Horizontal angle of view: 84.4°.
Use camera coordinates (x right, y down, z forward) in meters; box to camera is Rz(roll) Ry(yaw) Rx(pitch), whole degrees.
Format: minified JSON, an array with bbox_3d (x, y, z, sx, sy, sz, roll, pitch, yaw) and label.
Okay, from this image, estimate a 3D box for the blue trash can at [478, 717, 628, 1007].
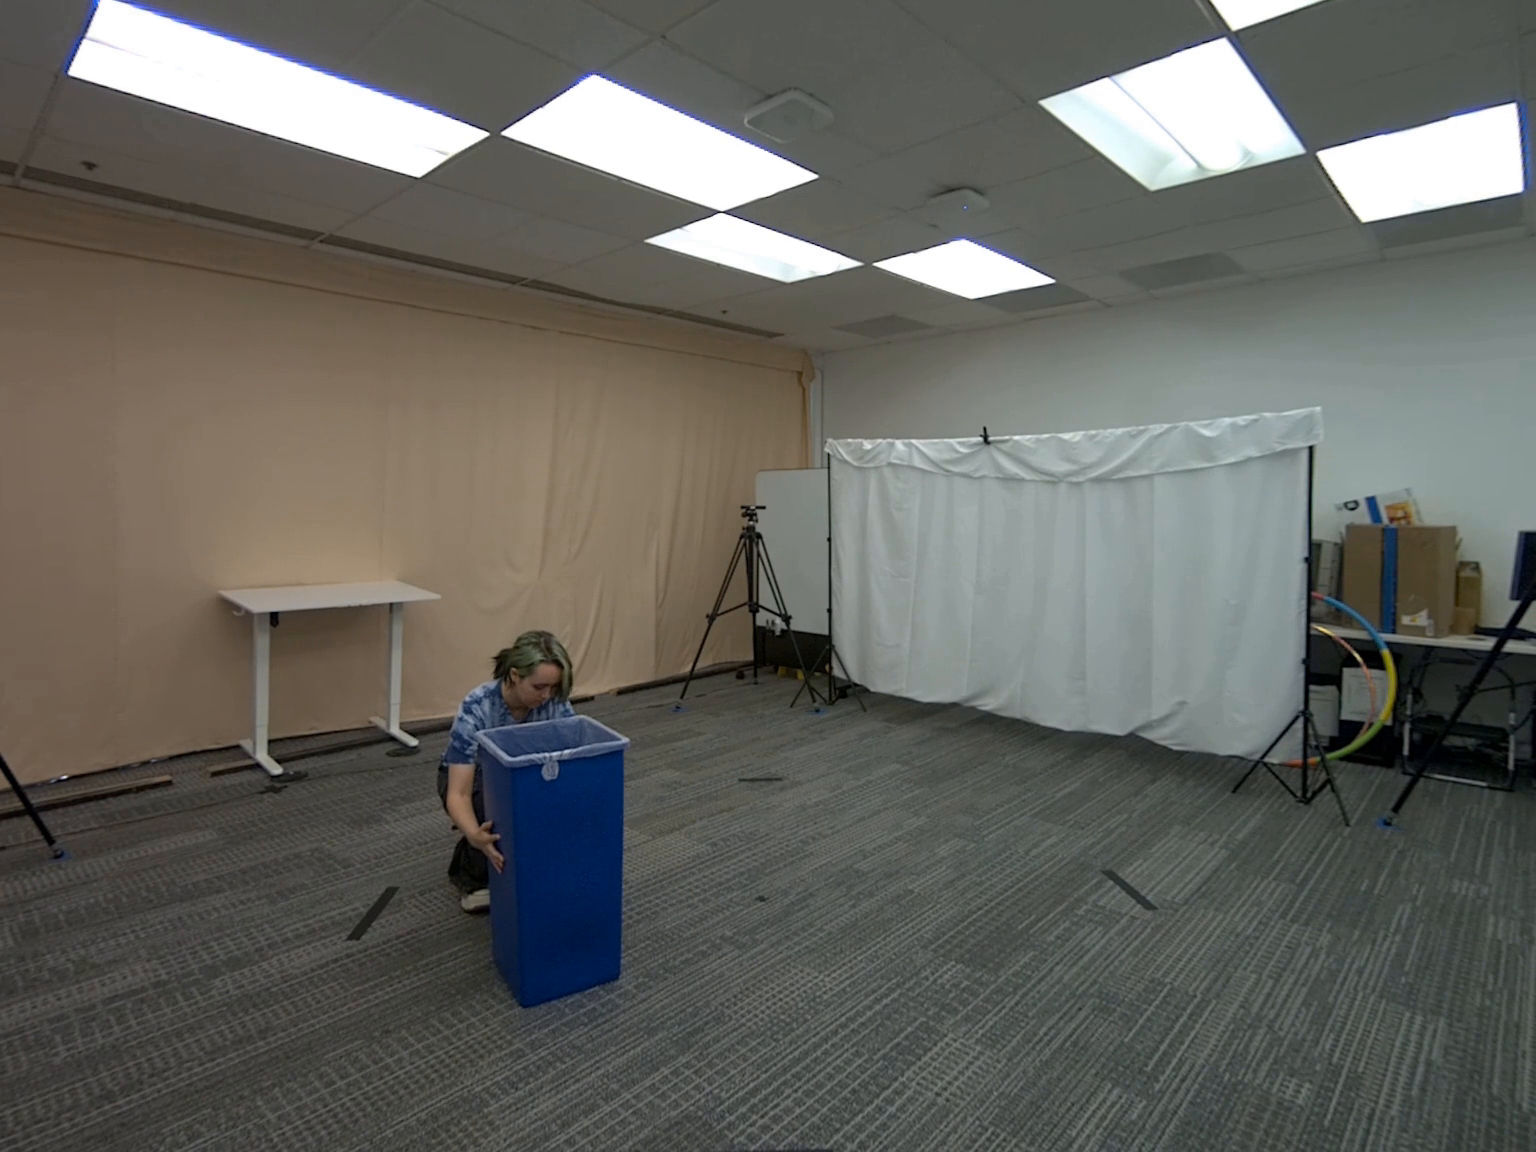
[{"bbox_3d":[-0.648,0.830,2.520,0.367,0.712,0.385,-2,4,-33],"label":"blue trash can"}]
